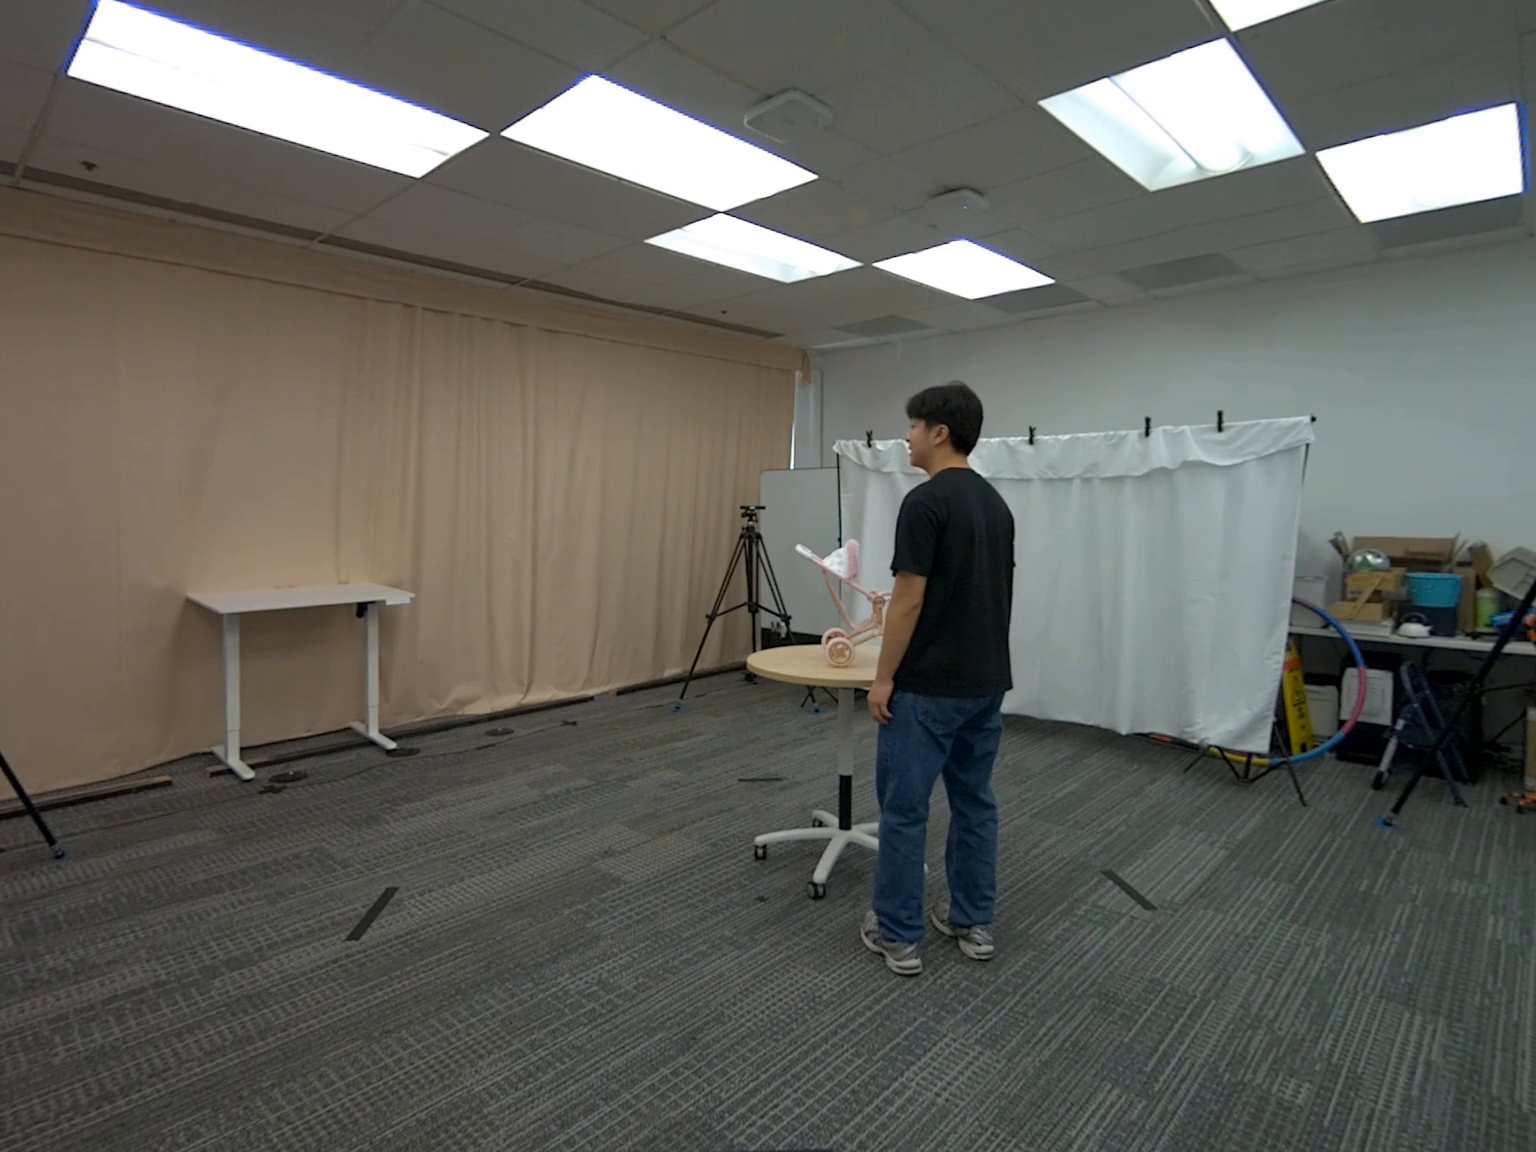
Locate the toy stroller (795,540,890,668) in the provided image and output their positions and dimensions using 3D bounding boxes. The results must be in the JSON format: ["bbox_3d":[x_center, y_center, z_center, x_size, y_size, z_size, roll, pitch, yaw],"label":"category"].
[{"bbox_3d":[0.338,0.103,3.202,0.344,0.534,0.279,-14,1,8],"label":"toy stroller"}]
